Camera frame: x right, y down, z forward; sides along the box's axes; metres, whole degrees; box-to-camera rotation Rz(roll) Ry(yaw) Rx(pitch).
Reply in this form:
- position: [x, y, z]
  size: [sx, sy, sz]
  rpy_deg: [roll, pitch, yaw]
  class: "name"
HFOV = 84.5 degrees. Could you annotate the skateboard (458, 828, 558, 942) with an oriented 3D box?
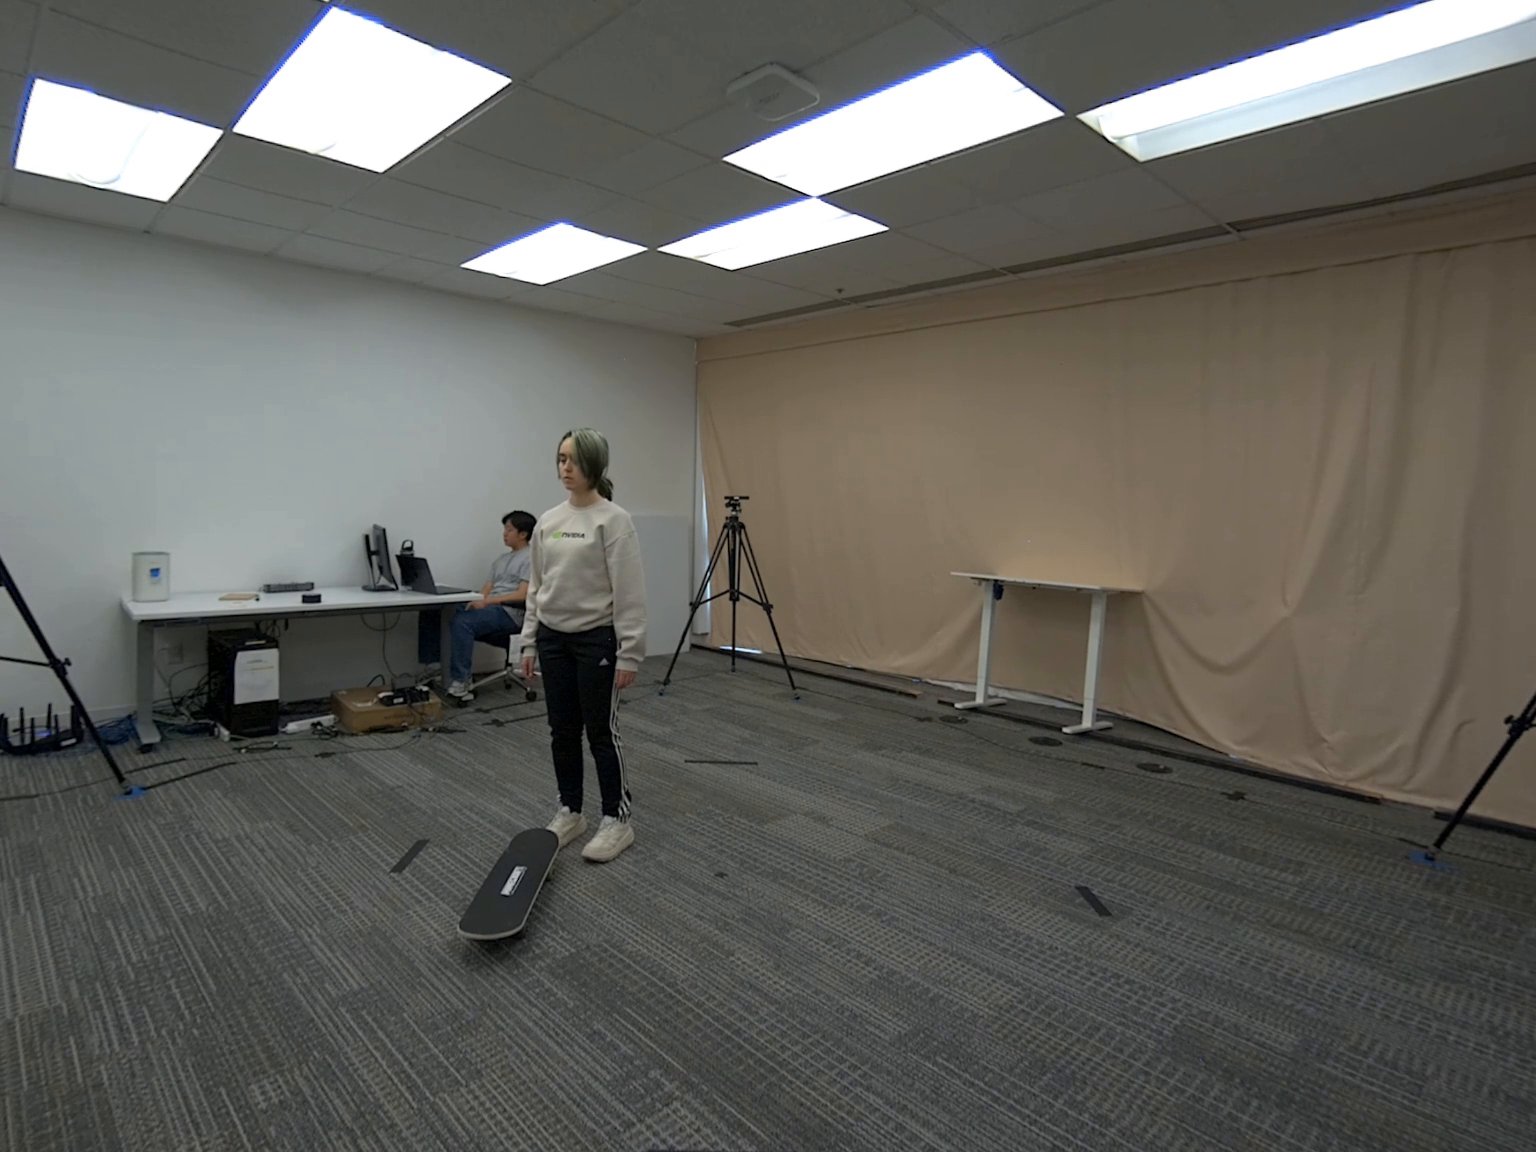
- position: [-0.857, 1.053, 2.835]
  size: [0.193, 0.110, 0.789]
  rpy_deg: [1, 5, -3]
  class: "skateboard"
